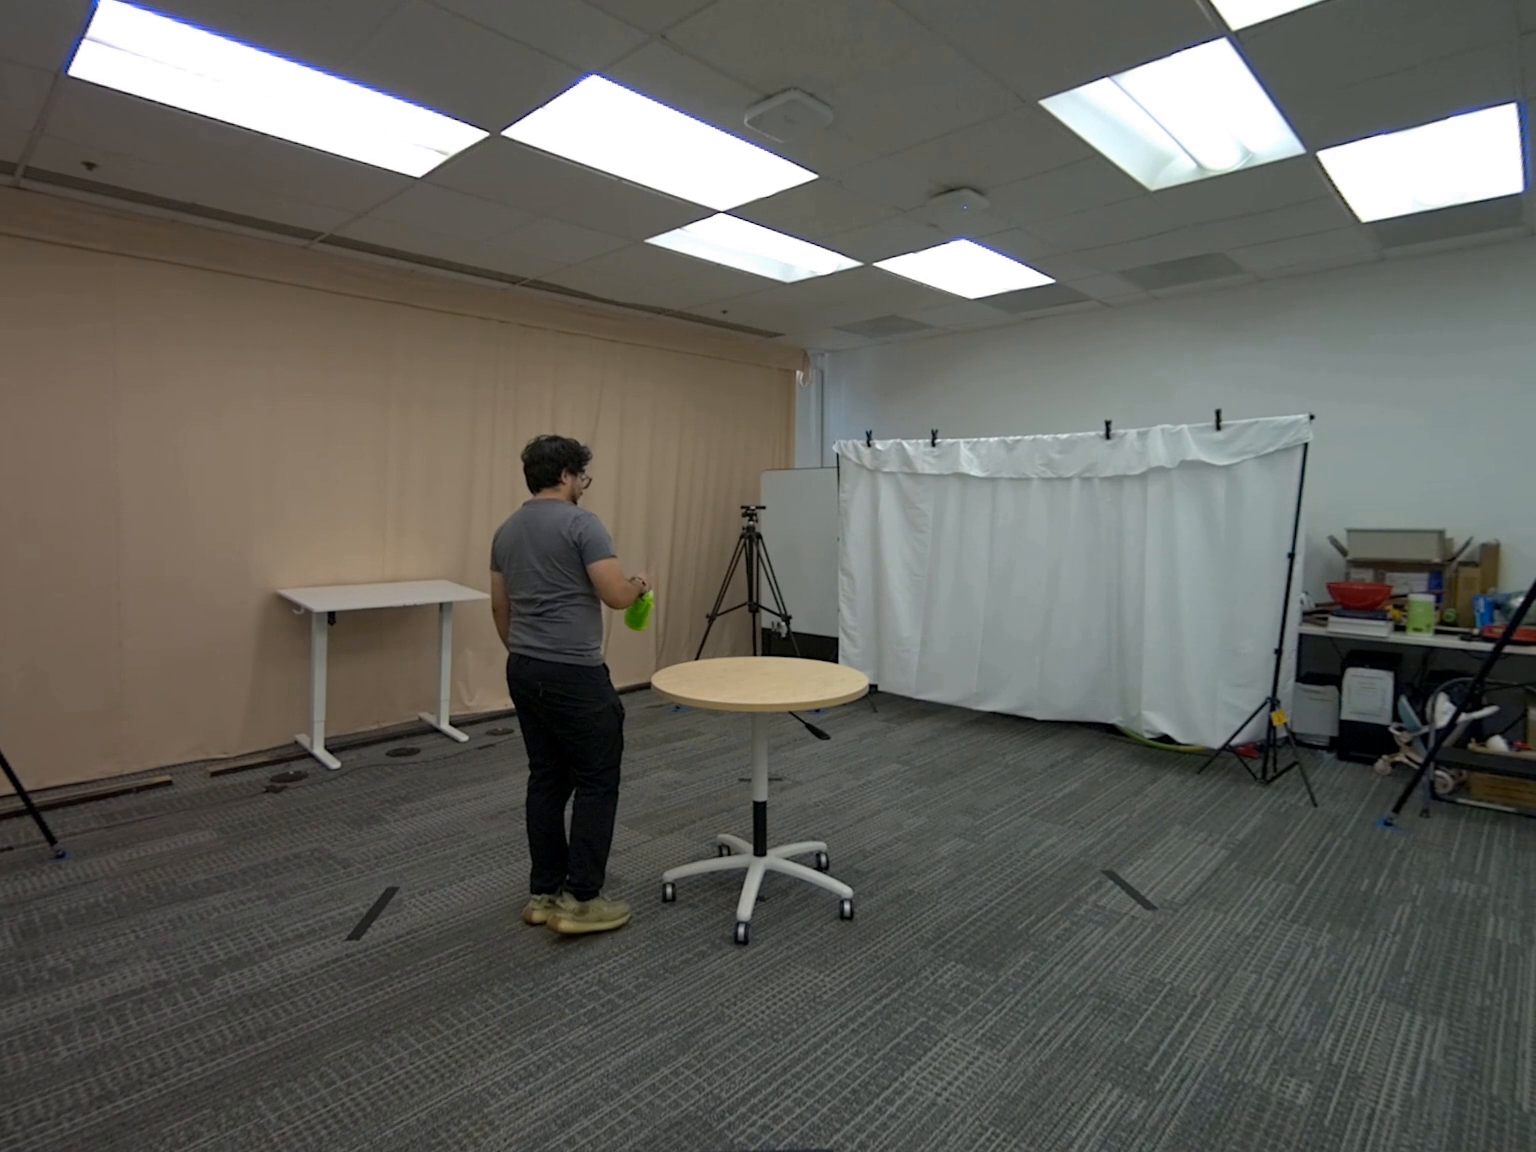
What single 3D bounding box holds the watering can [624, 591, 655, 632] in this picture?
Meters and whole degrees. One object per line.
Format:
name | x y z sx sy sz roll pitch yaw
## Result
watering can | -0.481 0.119 3.088 0.098 0.175 0.282 6 23 -4
